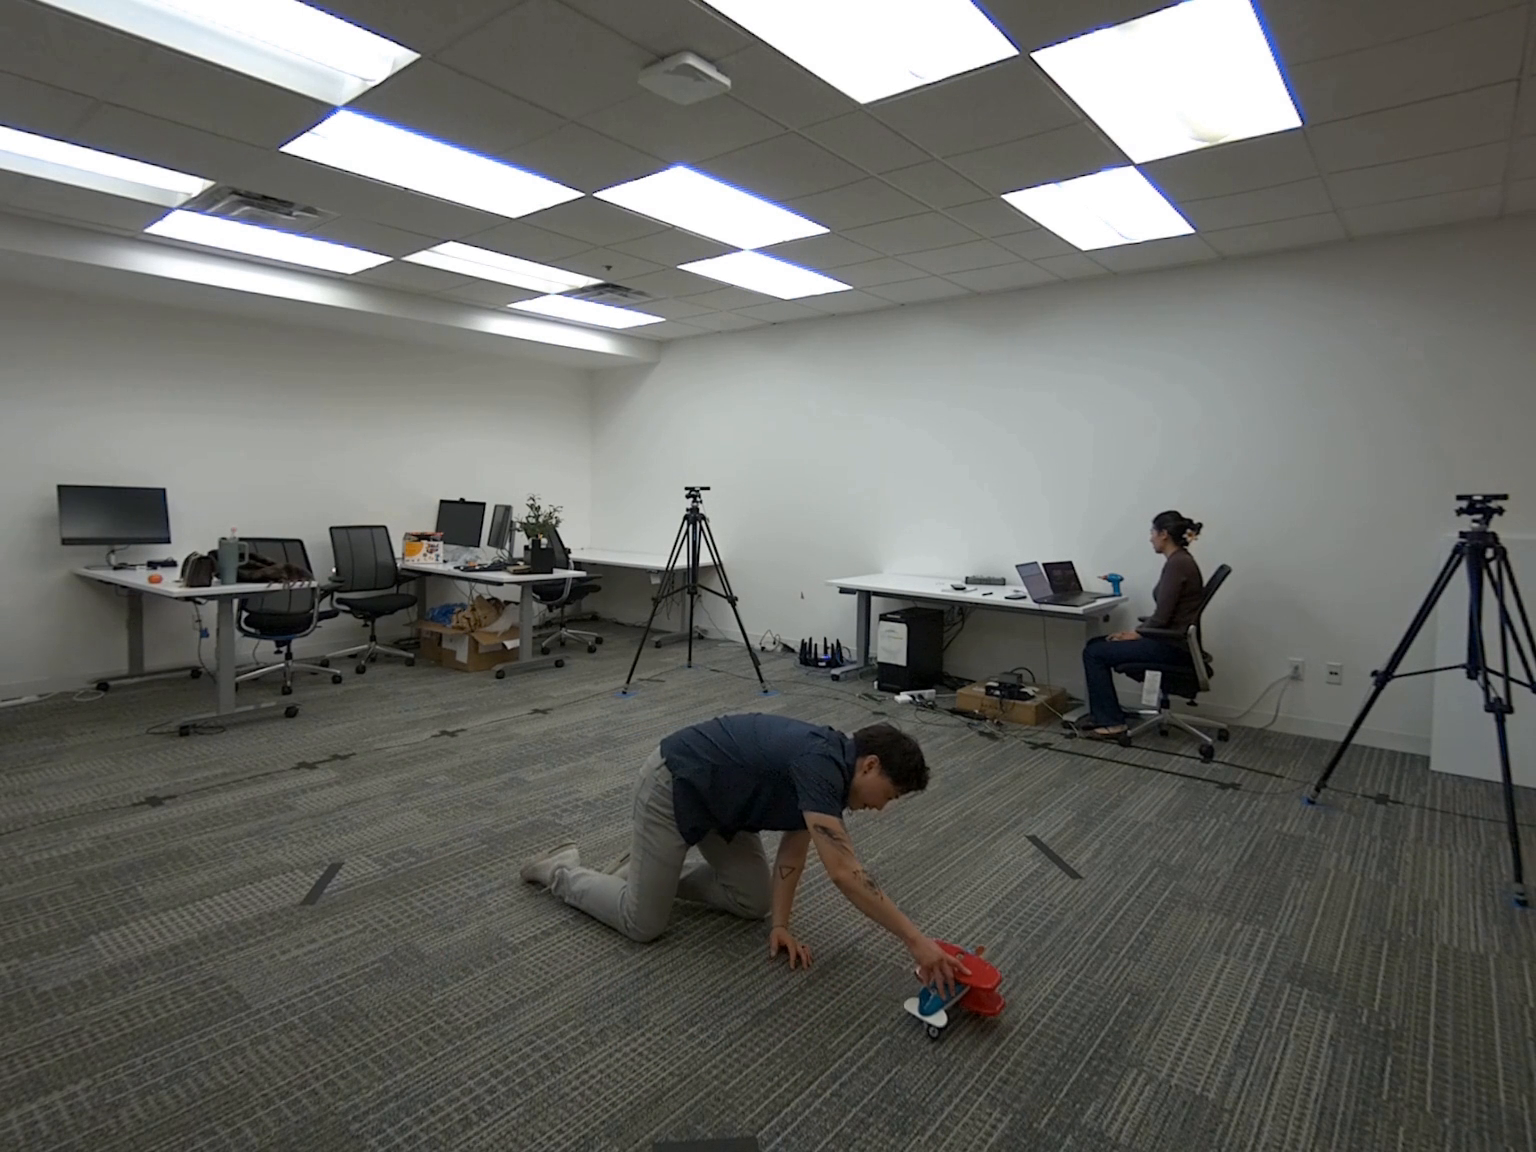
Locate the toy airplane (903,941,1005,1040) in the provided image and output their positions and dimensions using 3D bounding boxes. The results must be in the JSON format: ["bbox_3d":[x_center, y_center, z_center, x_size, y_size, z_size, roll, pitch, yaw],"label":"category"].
[{"bbox_3d":[0.490,1.094,2.244,0.256,0.156,0.255,1,5,20],"label":"toy airplane"}]
